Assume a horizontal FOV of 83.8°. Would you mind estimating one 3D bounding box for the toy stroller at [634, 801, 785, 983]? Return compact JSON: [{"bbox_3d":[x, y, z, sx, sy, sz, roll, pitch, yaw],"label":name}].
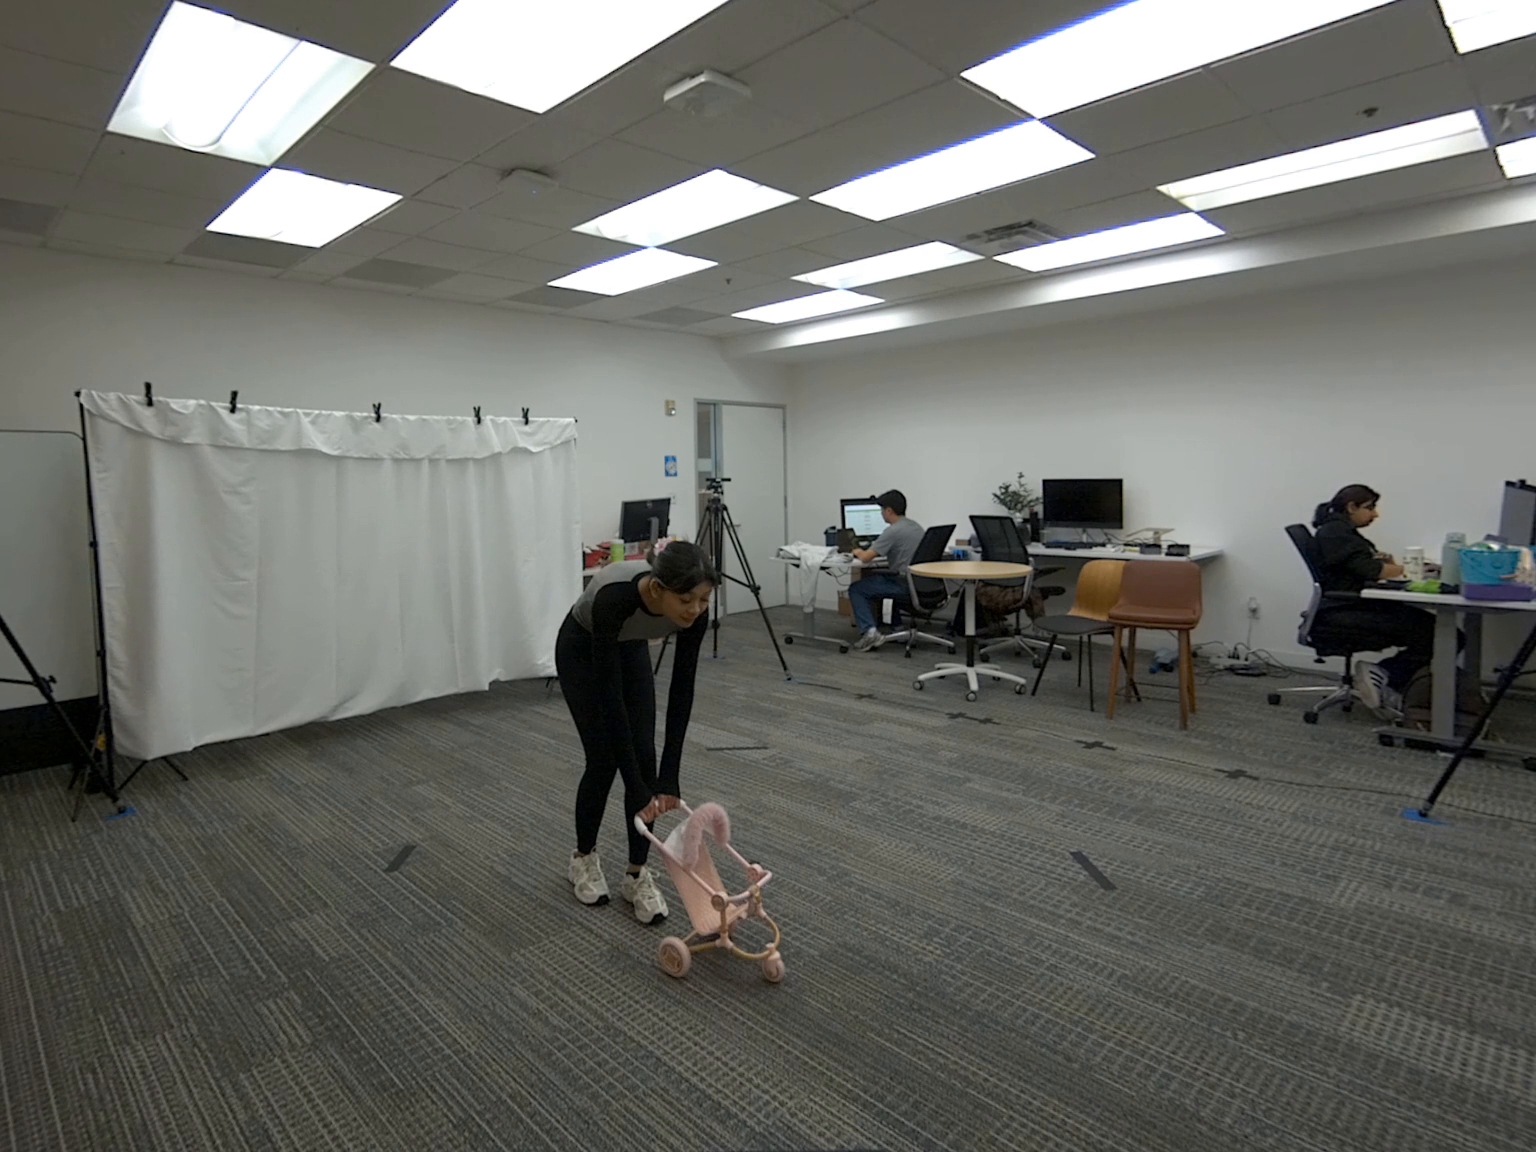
[{"bbox_3d":[-0.152,0.896,2.469,0.347,0.539,0.274,-19,-7,36],"label":"toy stroller"}]
